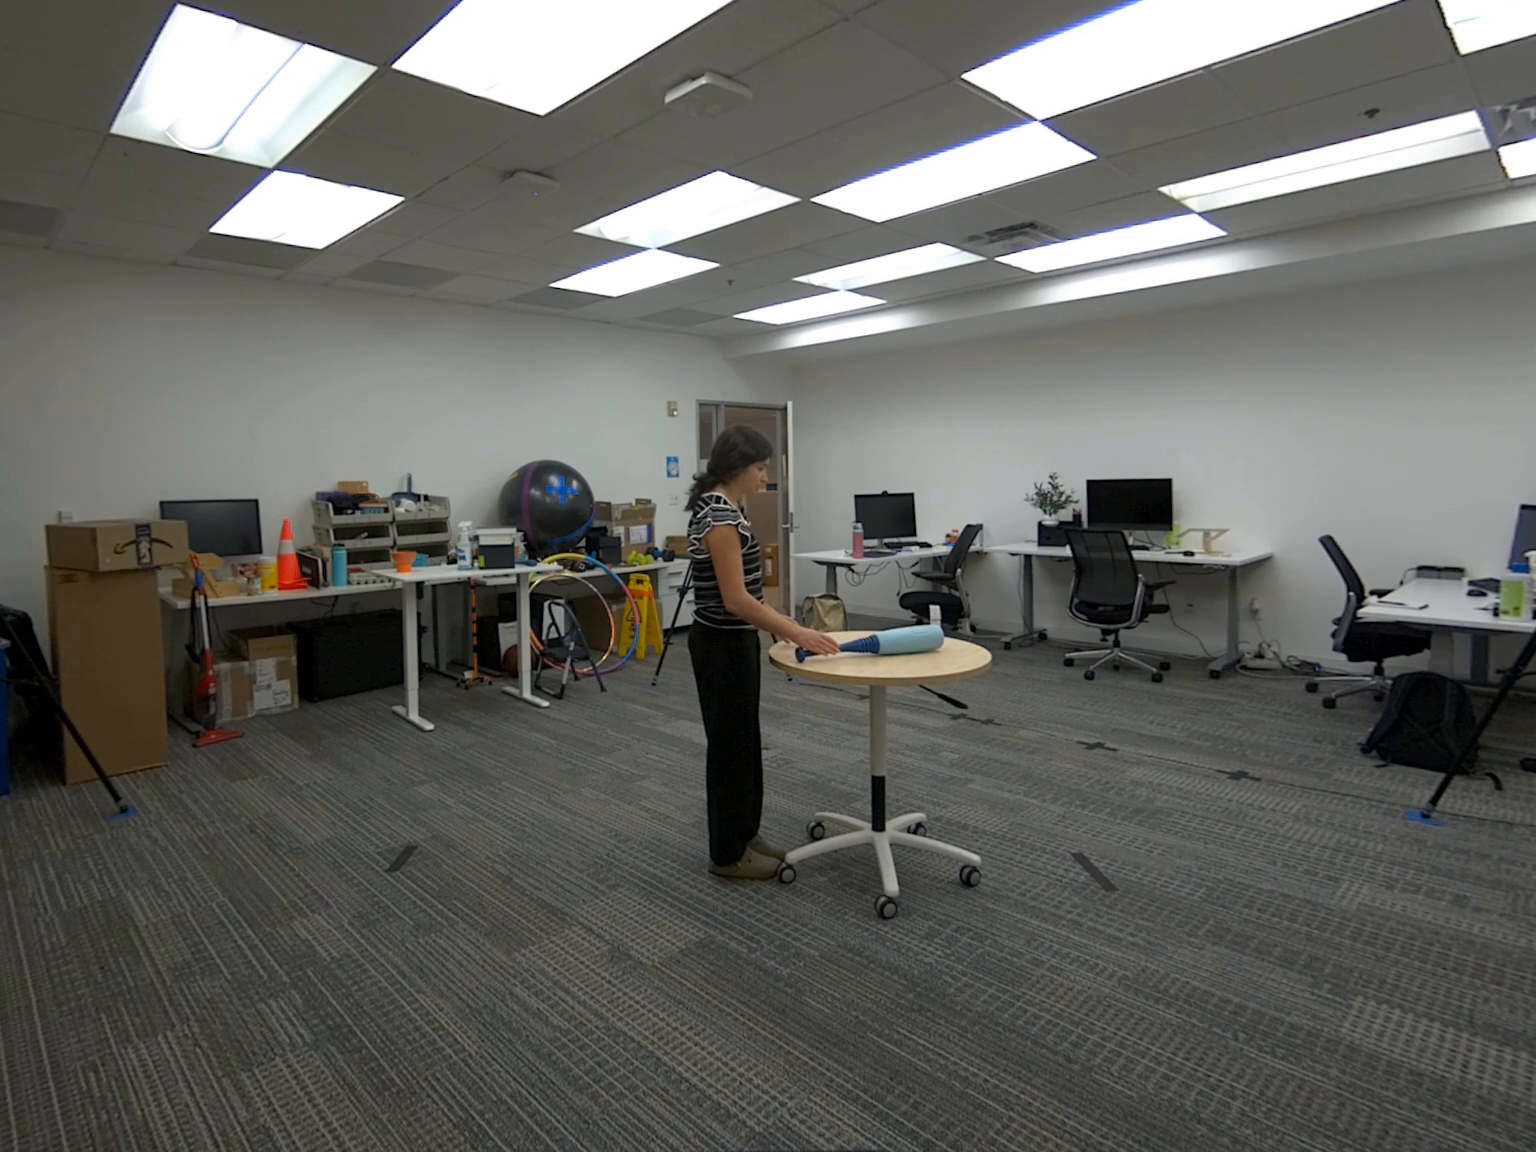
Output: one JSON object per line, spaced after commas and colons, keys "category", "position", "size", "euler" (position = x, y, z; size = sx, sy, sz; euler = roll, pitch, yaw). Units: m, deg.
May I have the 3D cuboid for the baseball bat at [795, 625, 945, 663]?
{"category": "baseball bat", "position": [0.355, 0.238, 2.917], "size": [0.535, 0.088, 0.091], "euler": [-6, 6, -18]}
